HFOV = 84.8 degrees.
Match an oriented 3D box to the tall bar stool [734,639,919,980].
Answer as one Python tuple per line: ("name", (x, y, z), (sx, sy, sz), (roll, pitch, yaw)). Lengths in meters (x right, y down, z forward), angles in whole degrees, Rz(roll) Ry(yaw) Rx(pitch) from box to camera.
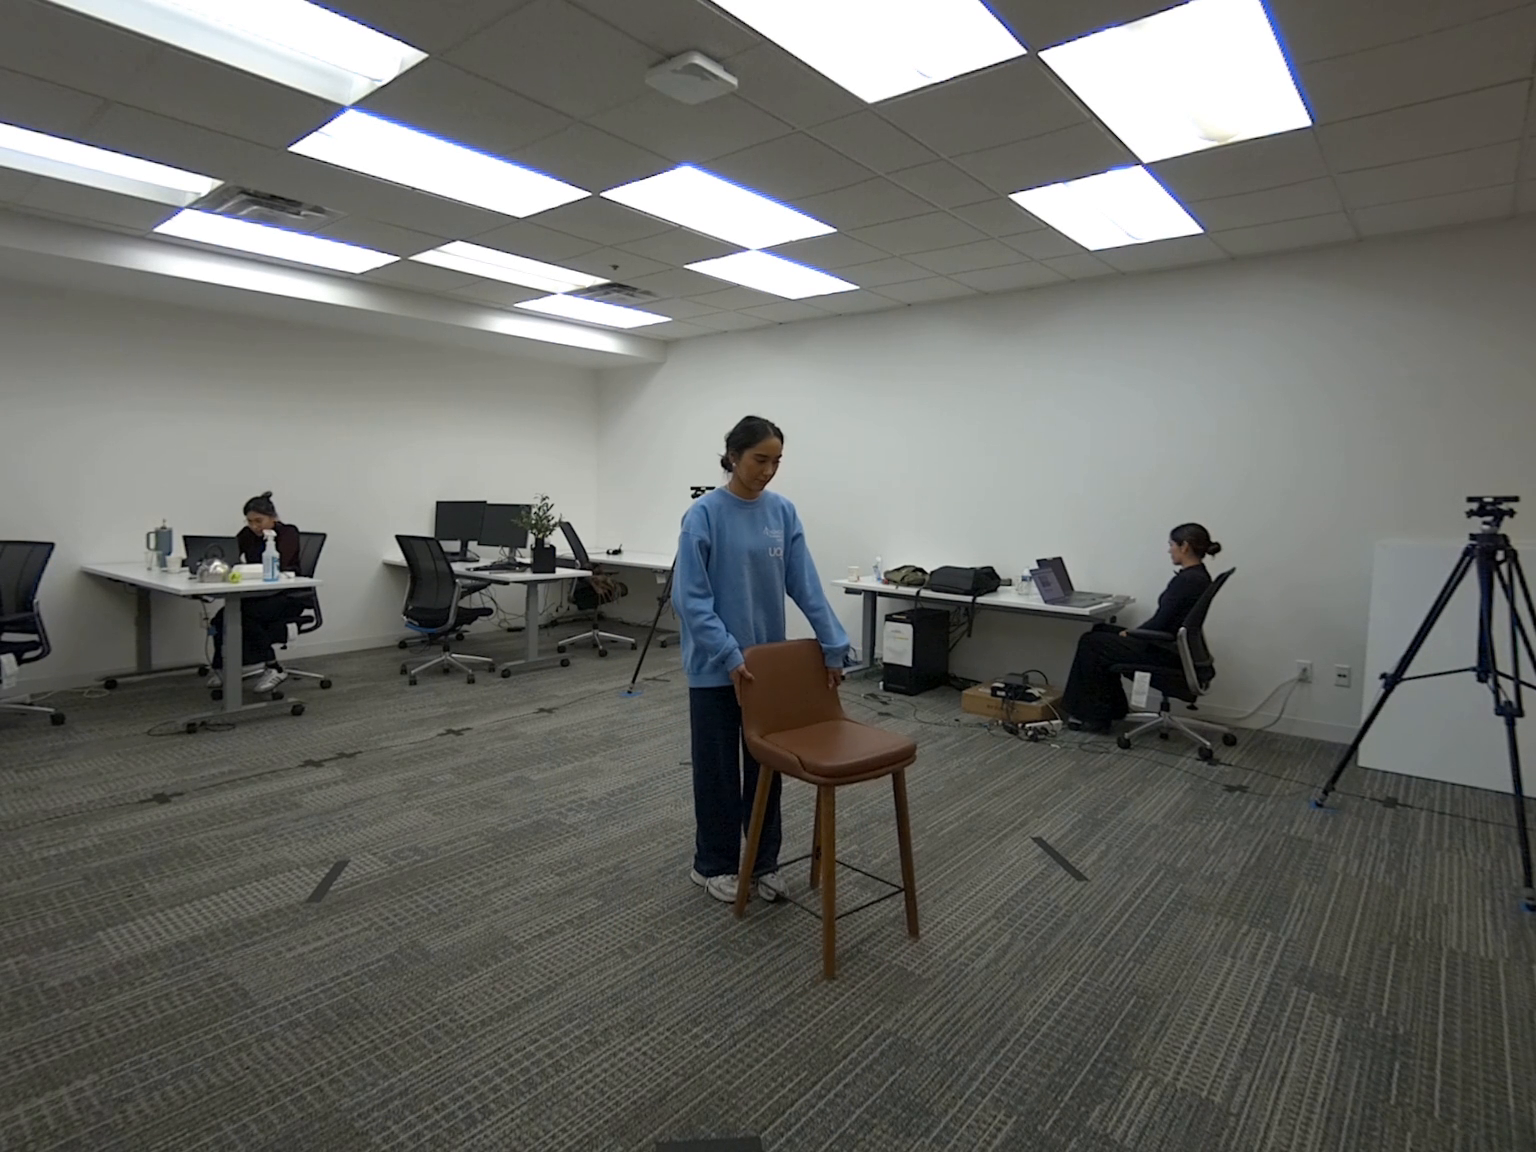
("tall bar stool", (0.175, 0.676, 2.694), (0.443, 0.889, 0.482), (-2, 2, -40))
